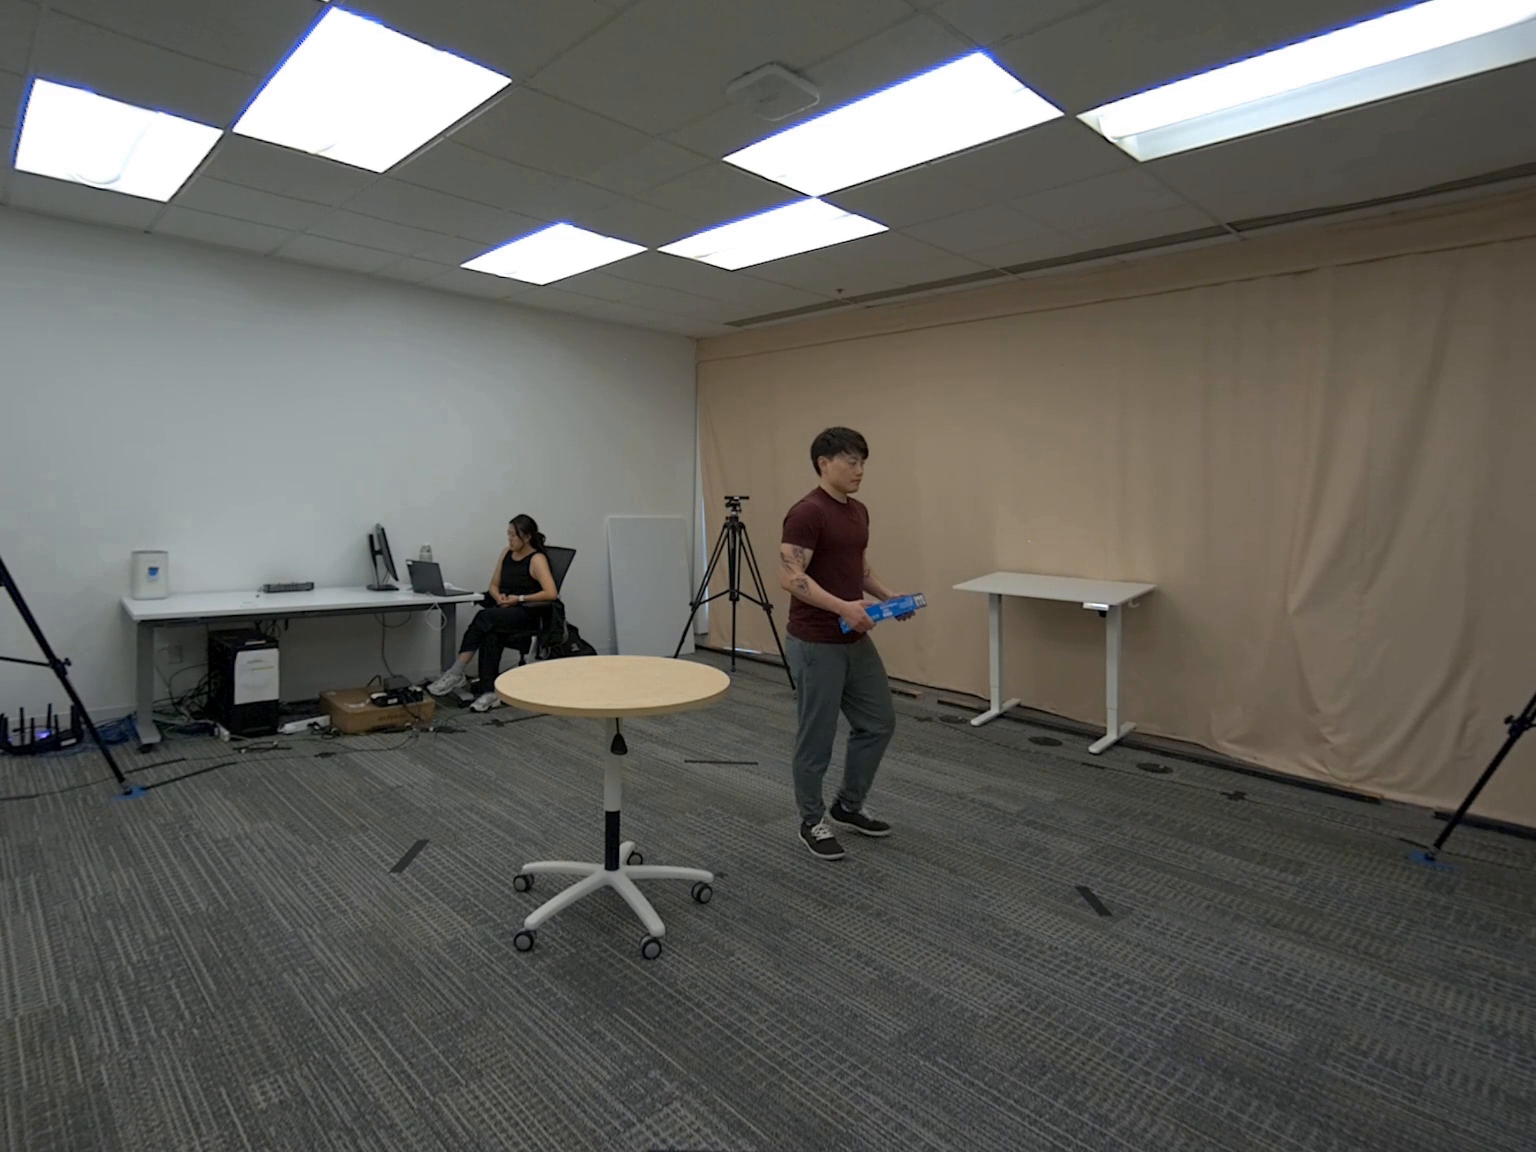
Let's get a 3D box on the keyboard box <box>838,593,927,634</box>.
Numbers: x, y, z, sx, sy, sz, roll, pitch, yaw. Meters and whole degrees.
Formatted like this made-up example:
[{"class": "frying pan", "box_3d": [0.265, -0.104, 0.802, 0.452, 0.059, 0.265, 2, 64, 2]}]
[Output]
[{"class": "keyboard box", "box_3d": [0.435, 0.133, 3.222, 0.178, 0.059, 0.429, -20, -4, 32]}]
